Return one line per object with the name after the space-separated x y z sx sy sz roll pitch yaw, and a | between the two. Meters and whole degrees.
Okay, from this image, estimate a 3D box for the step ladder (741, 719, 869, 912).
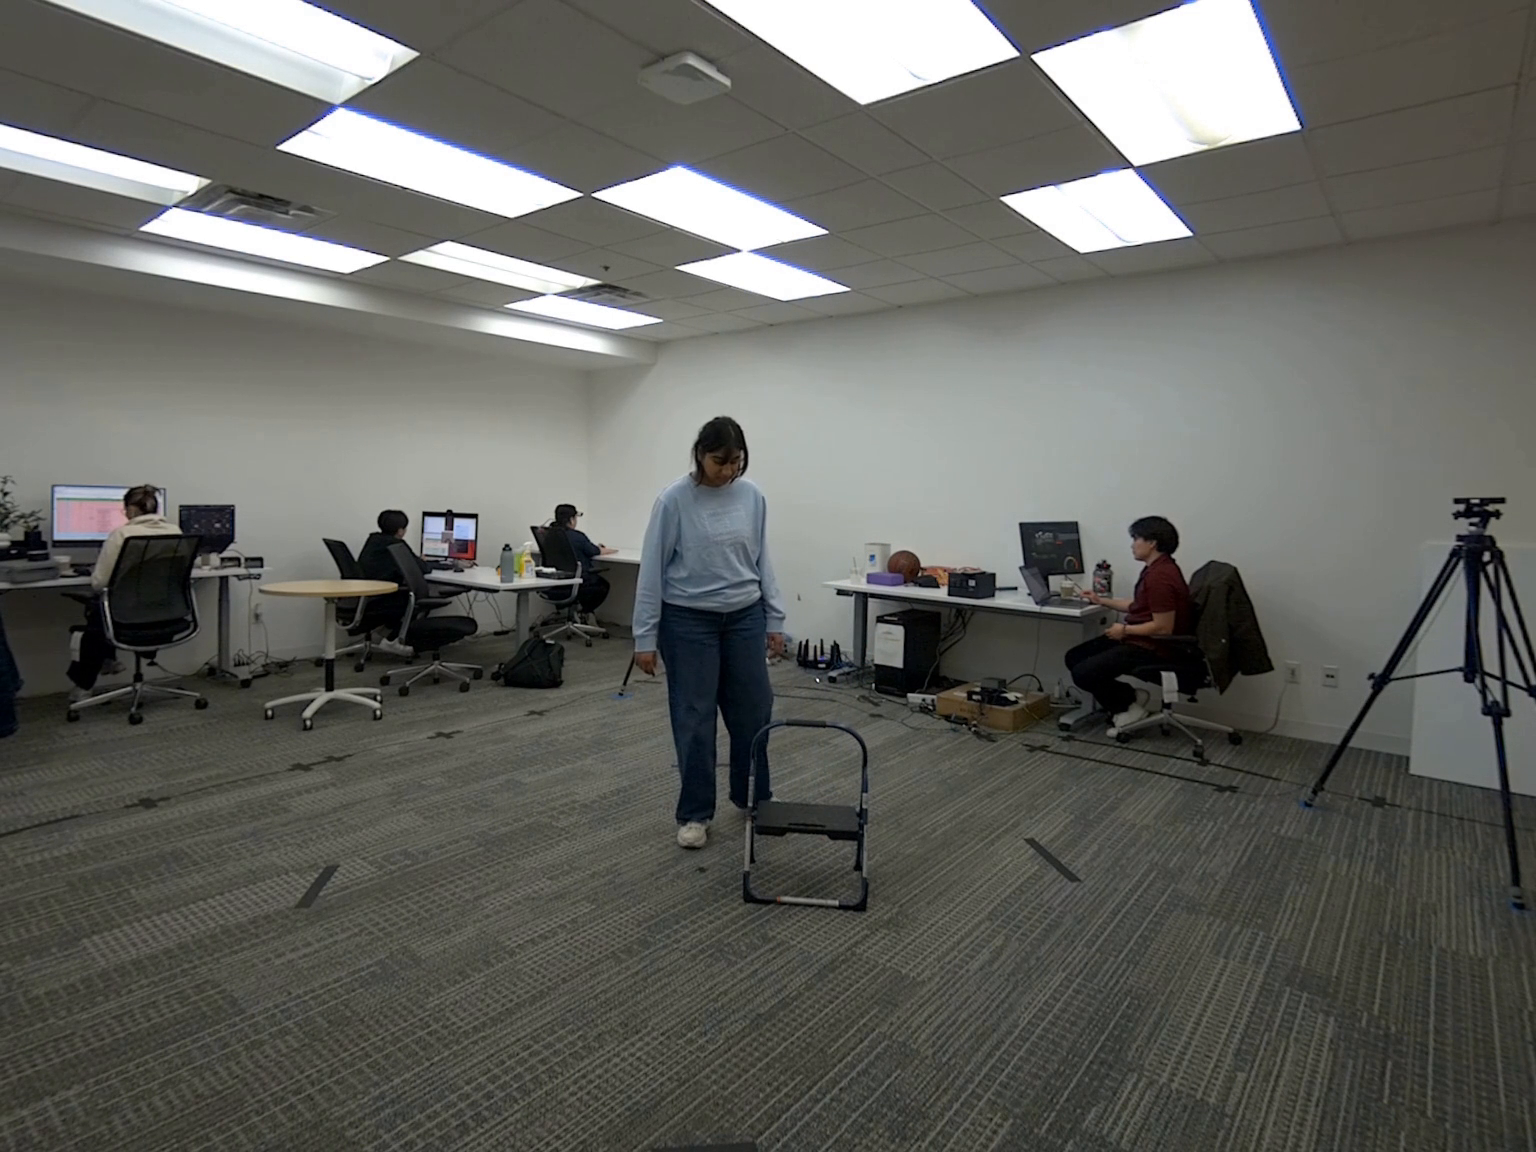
0.132 0.784 2.992 0.433 0.604 0.348 2 3 4 | step ladder
